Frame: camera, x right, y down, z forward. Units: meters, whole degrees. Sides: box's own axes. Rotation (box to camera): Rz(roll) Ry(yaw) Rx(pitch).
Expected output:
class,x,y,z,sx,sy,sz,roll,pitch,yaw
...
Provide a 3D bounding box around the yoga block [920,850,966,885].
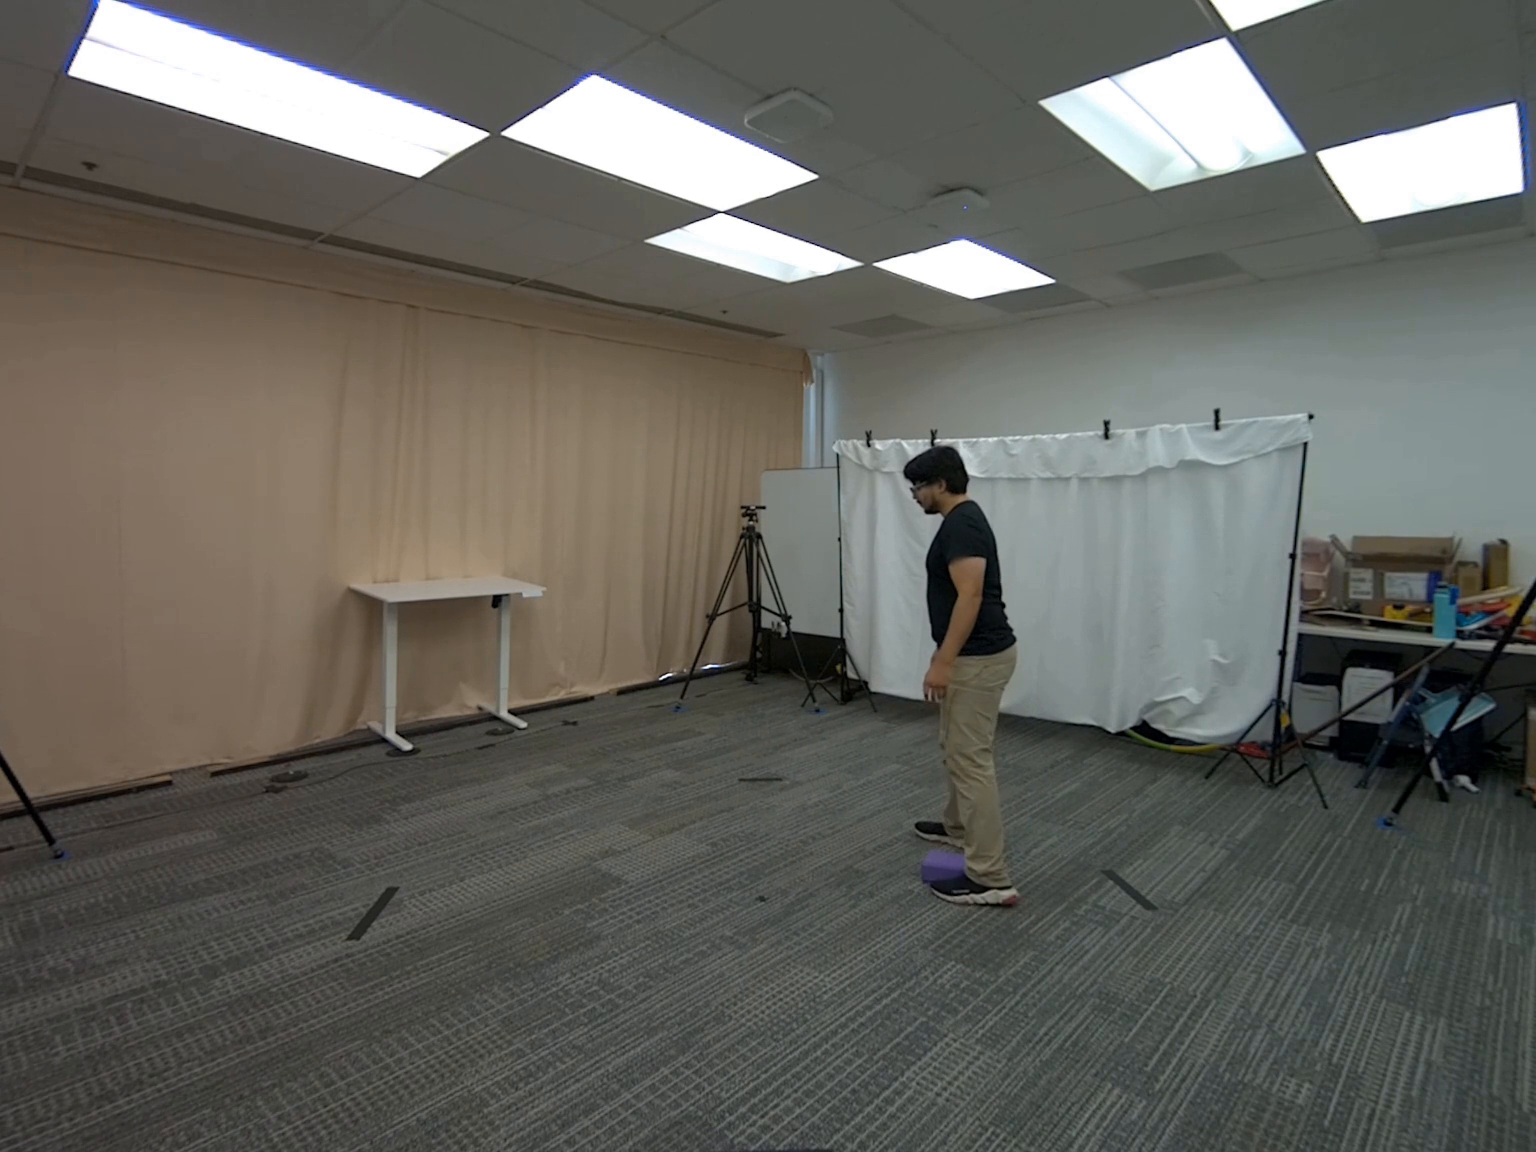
class,x,y,z,sx,sy,sz,roll,pitch,yaw
yoga block,0.695,1.090,3.129,0.235,0.076,0.146,1,5,23
